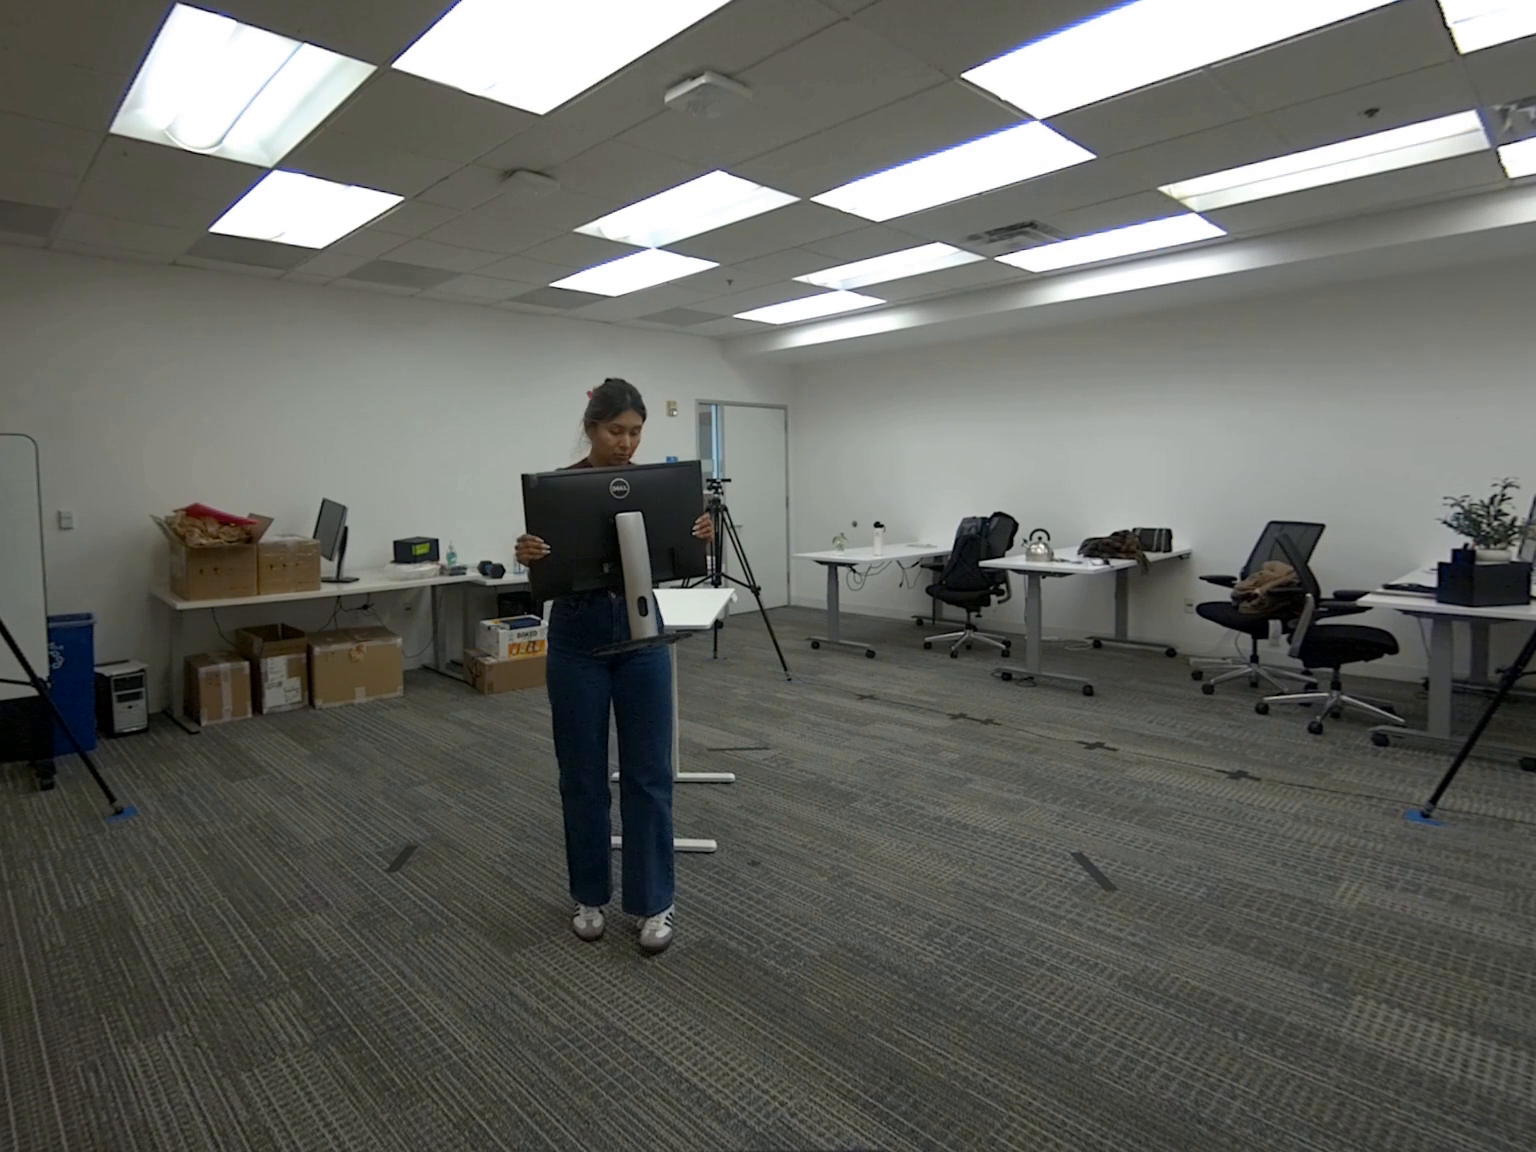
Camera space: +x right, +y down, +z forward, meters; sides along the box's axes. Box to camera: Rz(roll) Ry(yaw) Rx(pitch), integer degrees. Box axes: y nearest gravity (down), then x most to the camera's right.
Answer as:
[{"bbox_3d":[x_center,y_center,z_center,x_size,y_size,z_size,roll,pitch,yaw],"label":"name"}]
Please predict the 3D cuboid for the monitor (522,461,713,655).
[{"bbox_3d":[-0.405,-0.053,2.422,0.528,0.527,0.189,-8,-8,-27],"label":"monitor"}]
